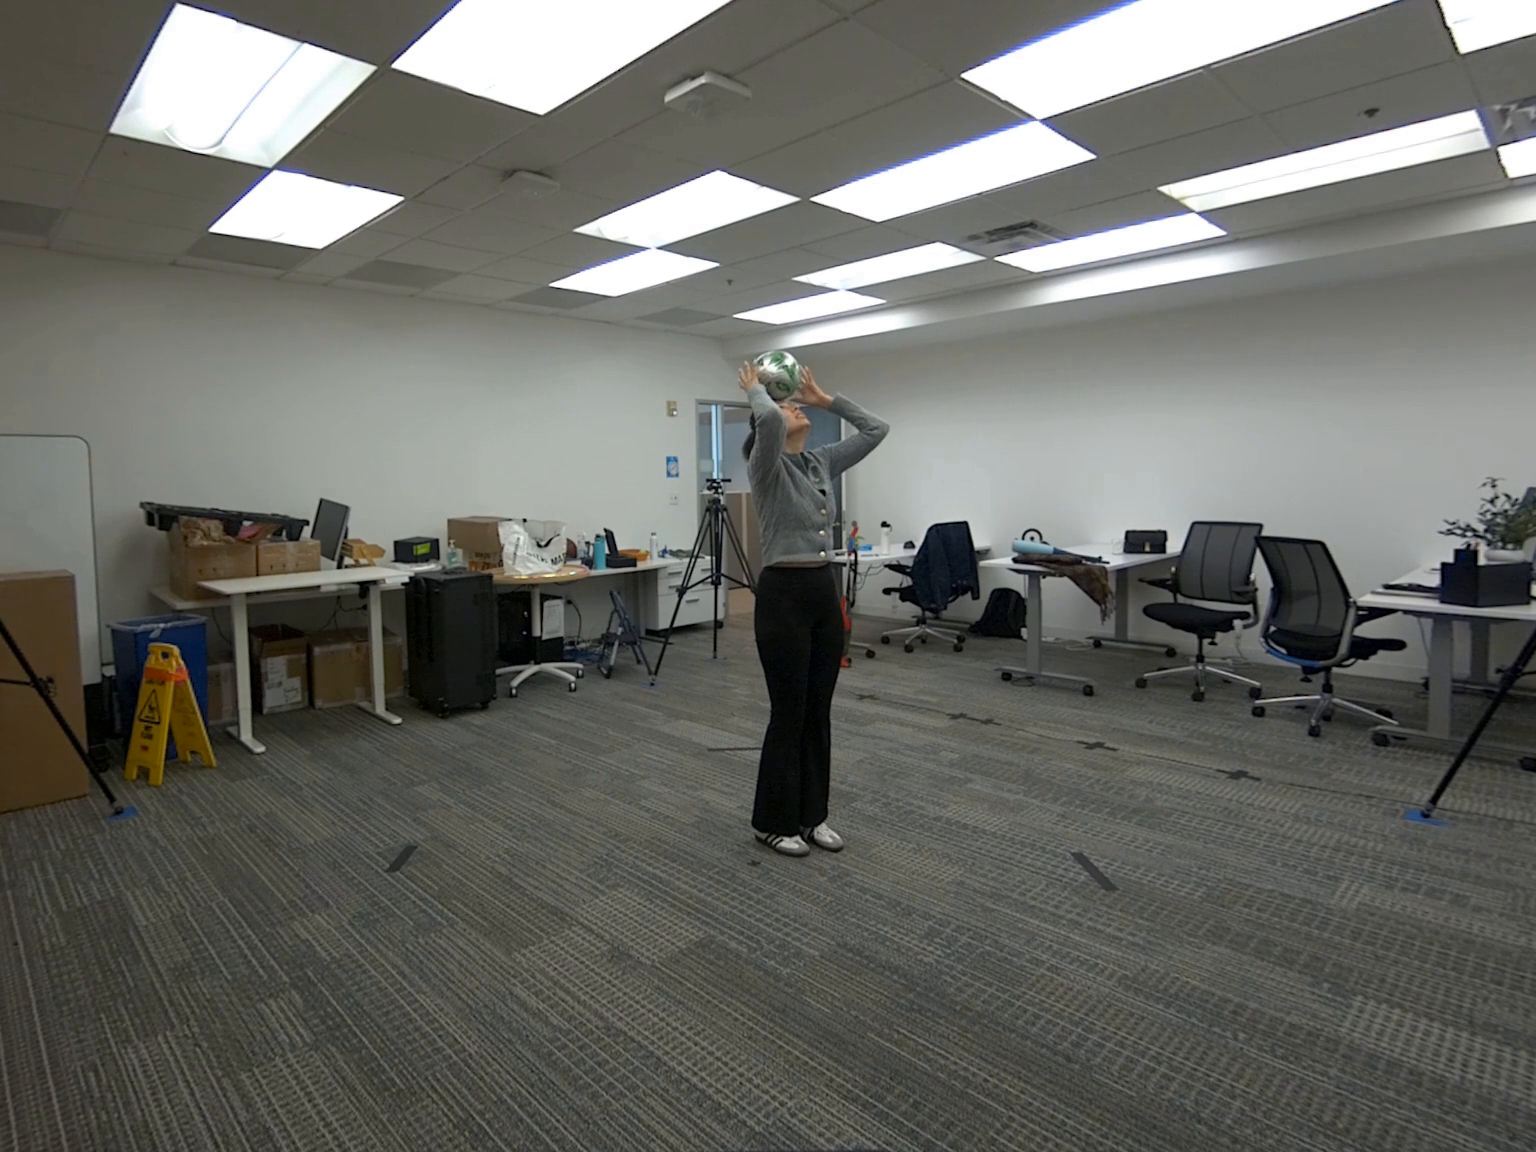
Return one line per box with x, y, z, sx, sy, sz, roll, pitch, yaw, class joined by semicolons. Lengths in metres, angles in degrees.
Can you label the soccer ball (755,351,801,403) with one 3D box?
0.032;-0.752;3.217;0.187;0.187;0.188;-1;5;-2;soccer ball
